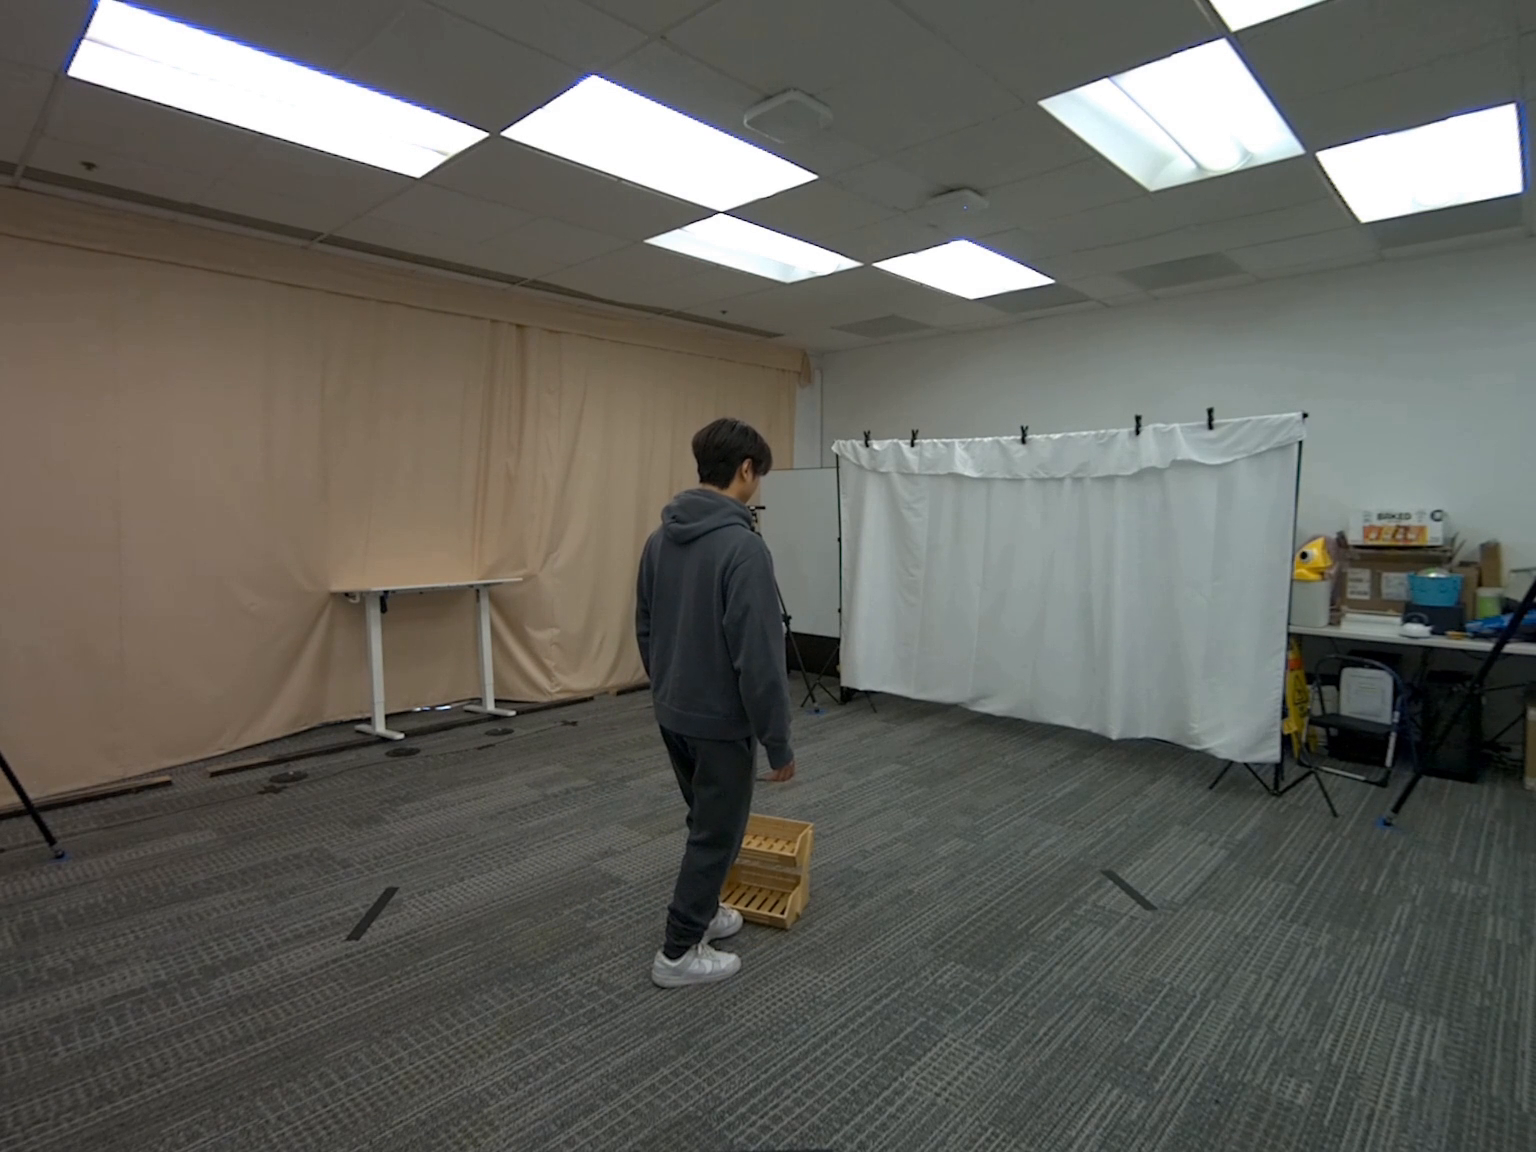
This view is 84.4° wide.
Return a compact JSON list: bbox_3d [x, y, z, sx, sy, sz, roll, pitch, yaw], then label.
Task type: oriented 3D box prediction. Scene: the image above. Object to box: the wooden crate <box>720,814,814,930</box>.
[{"bbox_3d":[-0.023,1.015,2.927,0.332,0.273,0.296,2,3,21],"label":"wooden crate"}]
